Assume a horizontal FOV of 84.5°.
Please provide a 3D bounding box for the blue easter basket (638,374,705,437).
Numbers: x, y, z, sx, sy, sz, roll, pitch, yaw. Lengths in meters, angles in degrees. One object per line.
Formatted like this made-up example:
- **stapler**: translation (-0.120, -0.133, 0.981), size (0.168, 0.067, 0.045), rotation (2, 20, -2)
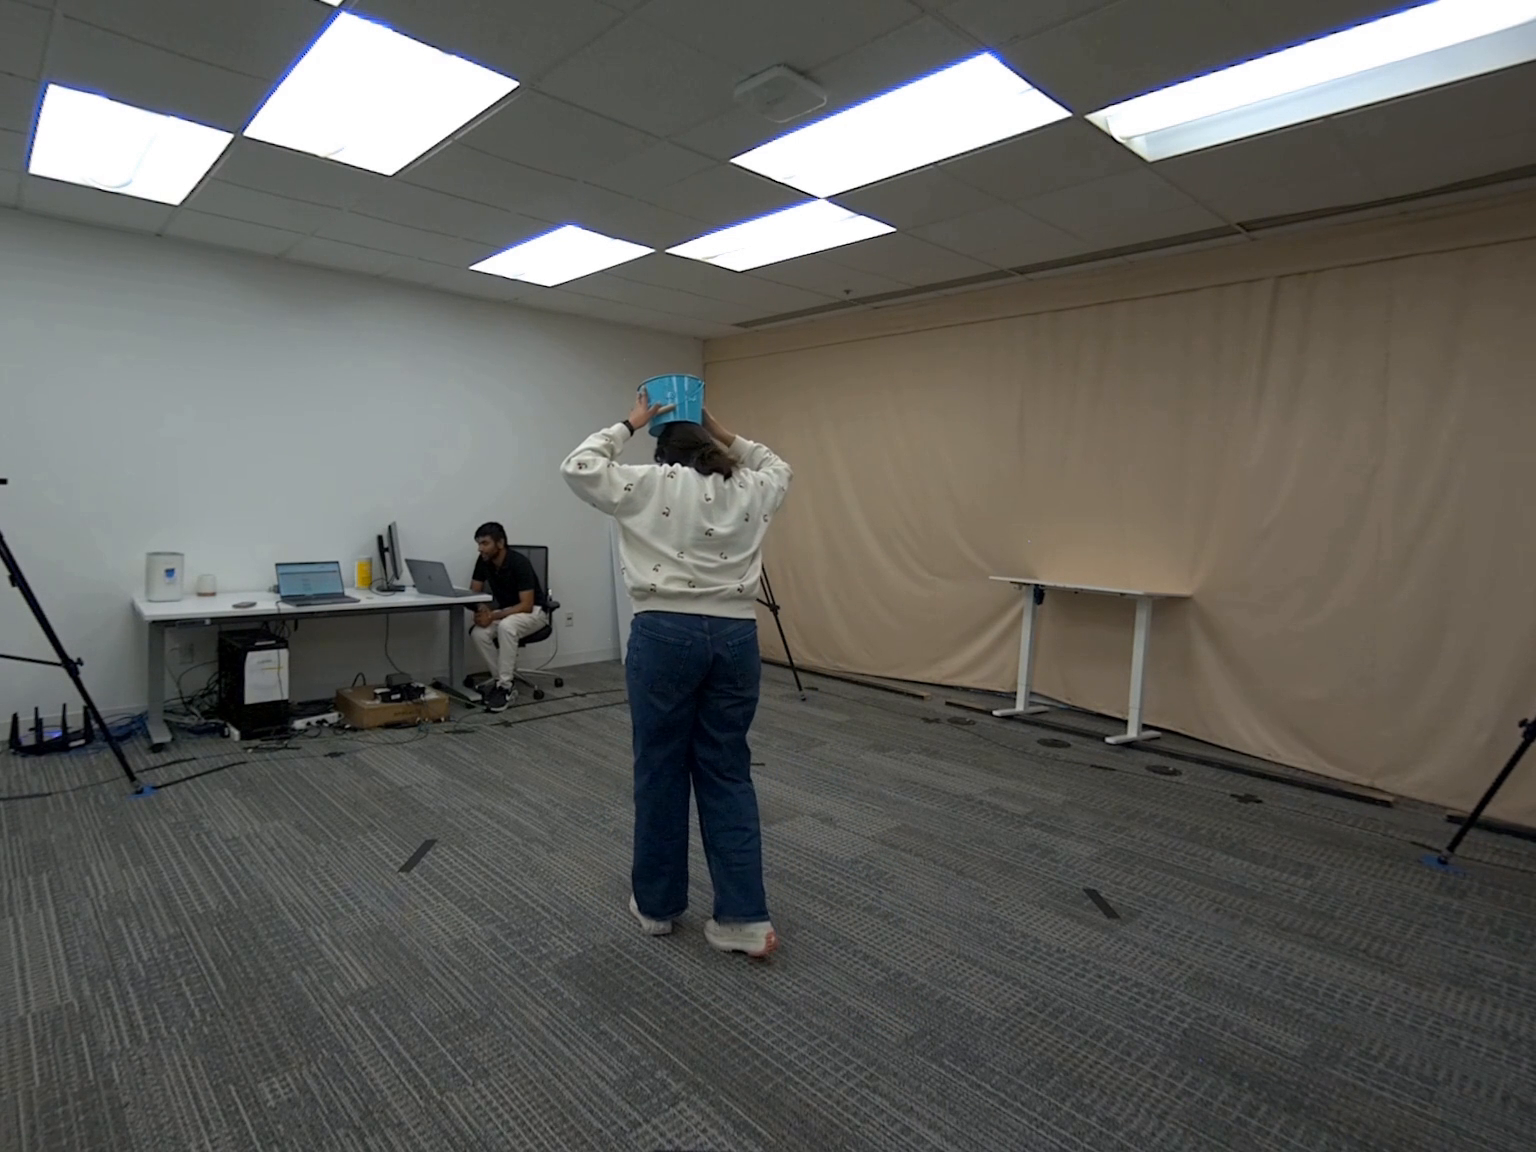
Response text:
- **blue easter basket**: translation (-0.334, -0.568, 2.859), size (0.243, 0.157, 0.241), rotation (-6, -11, -3)
